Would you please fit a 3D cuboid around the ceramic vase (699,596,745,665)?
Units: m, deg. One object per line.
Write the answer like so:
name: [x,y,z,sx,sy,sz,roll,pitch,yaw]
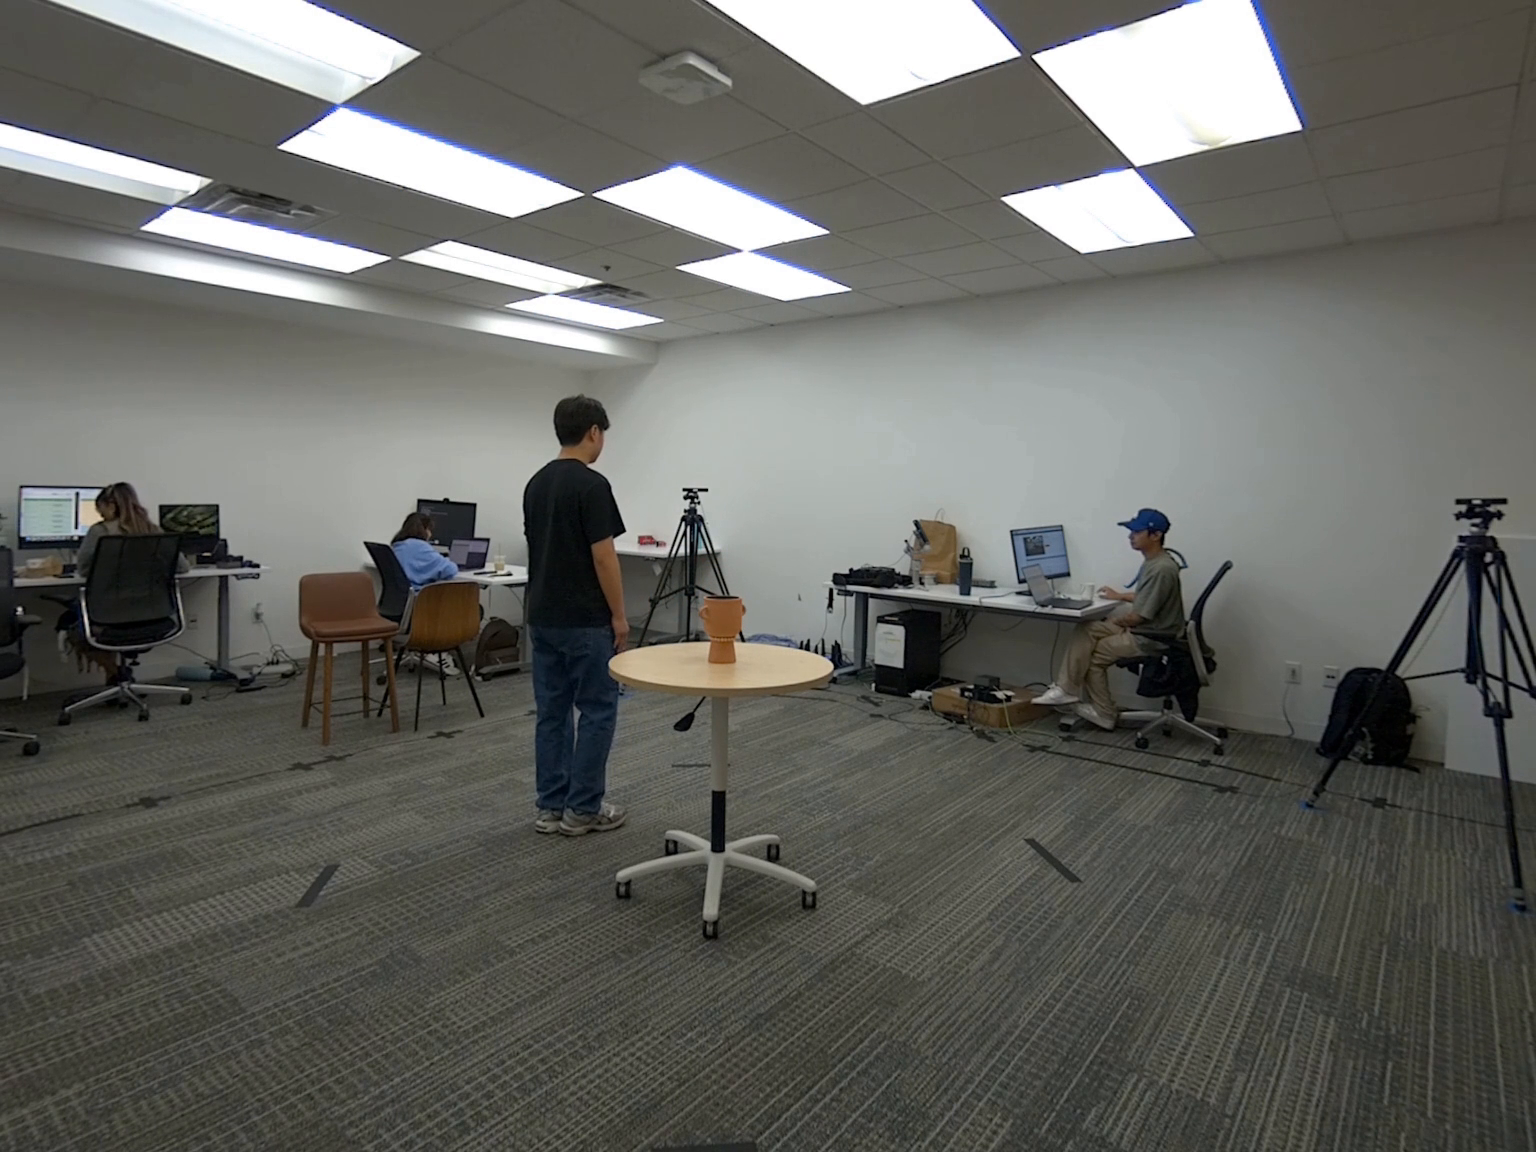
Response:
ceramic vase: [-0.167,0.185,2.928,0.159,0.219,0.134,2,3,2]
